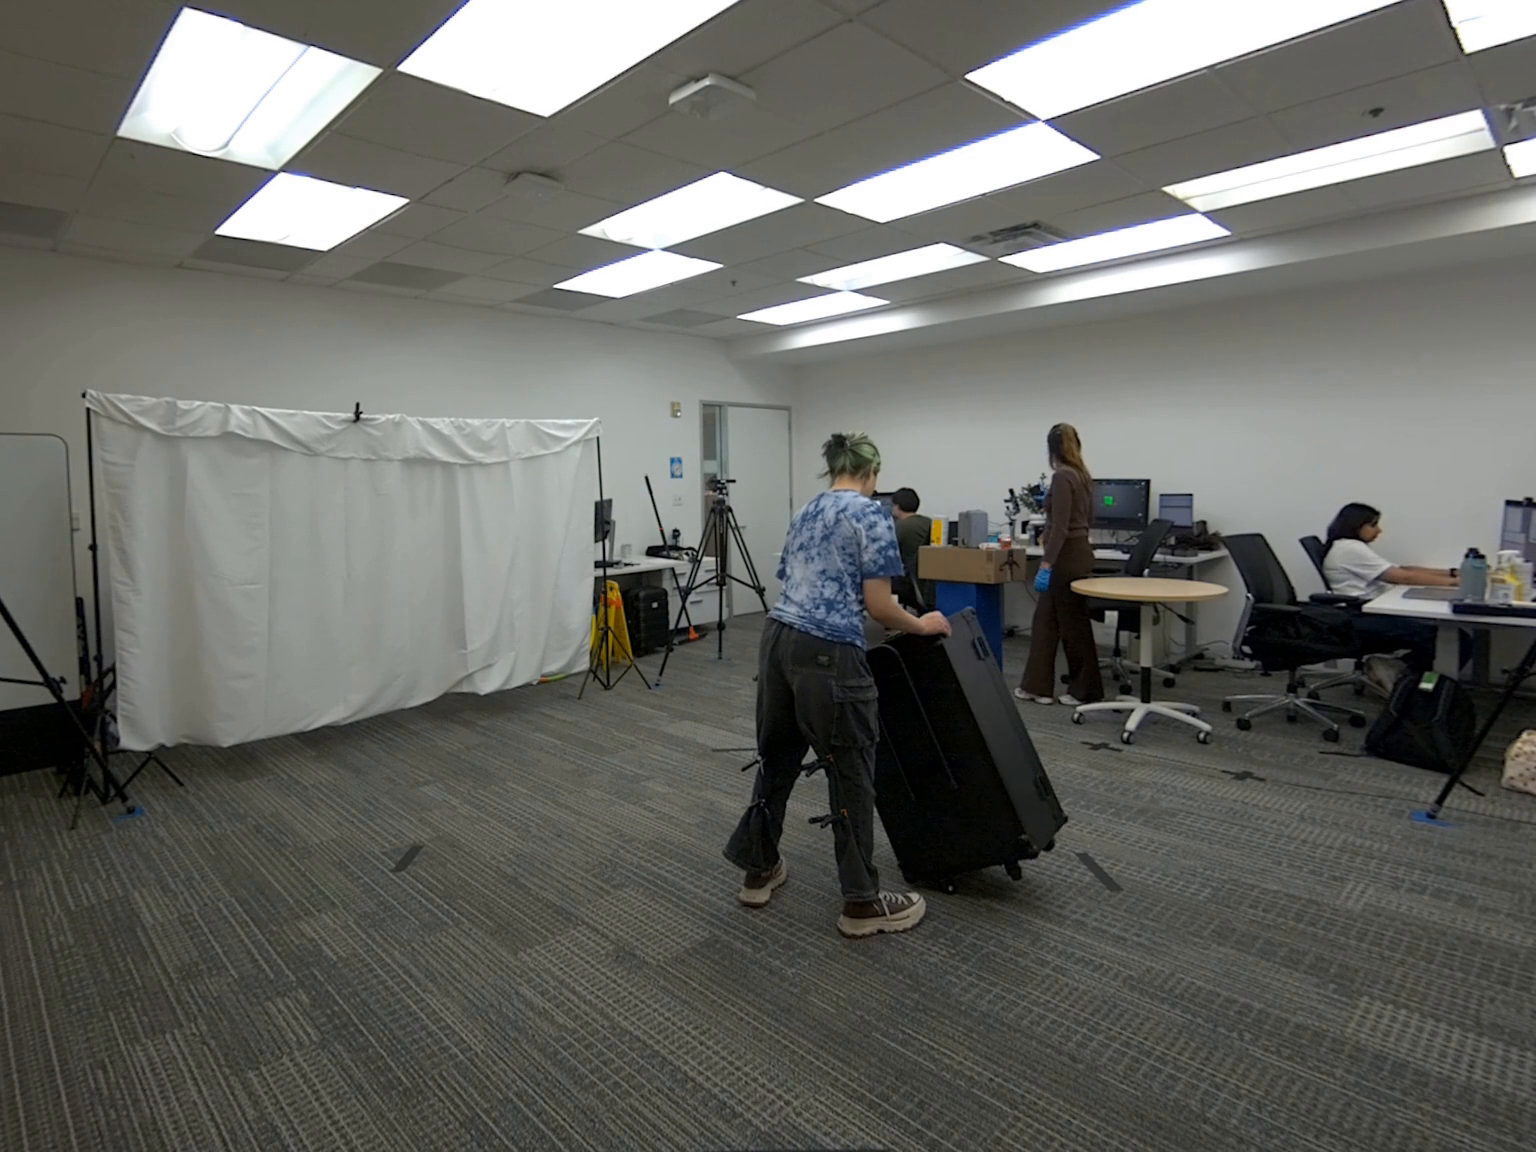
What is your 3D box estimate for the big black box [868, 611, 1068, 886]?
[{"bbox_3d":[0.615,0.615,2.974,0.527,0.873,0.387,-29,-12,34],"label":"big black box"}]
